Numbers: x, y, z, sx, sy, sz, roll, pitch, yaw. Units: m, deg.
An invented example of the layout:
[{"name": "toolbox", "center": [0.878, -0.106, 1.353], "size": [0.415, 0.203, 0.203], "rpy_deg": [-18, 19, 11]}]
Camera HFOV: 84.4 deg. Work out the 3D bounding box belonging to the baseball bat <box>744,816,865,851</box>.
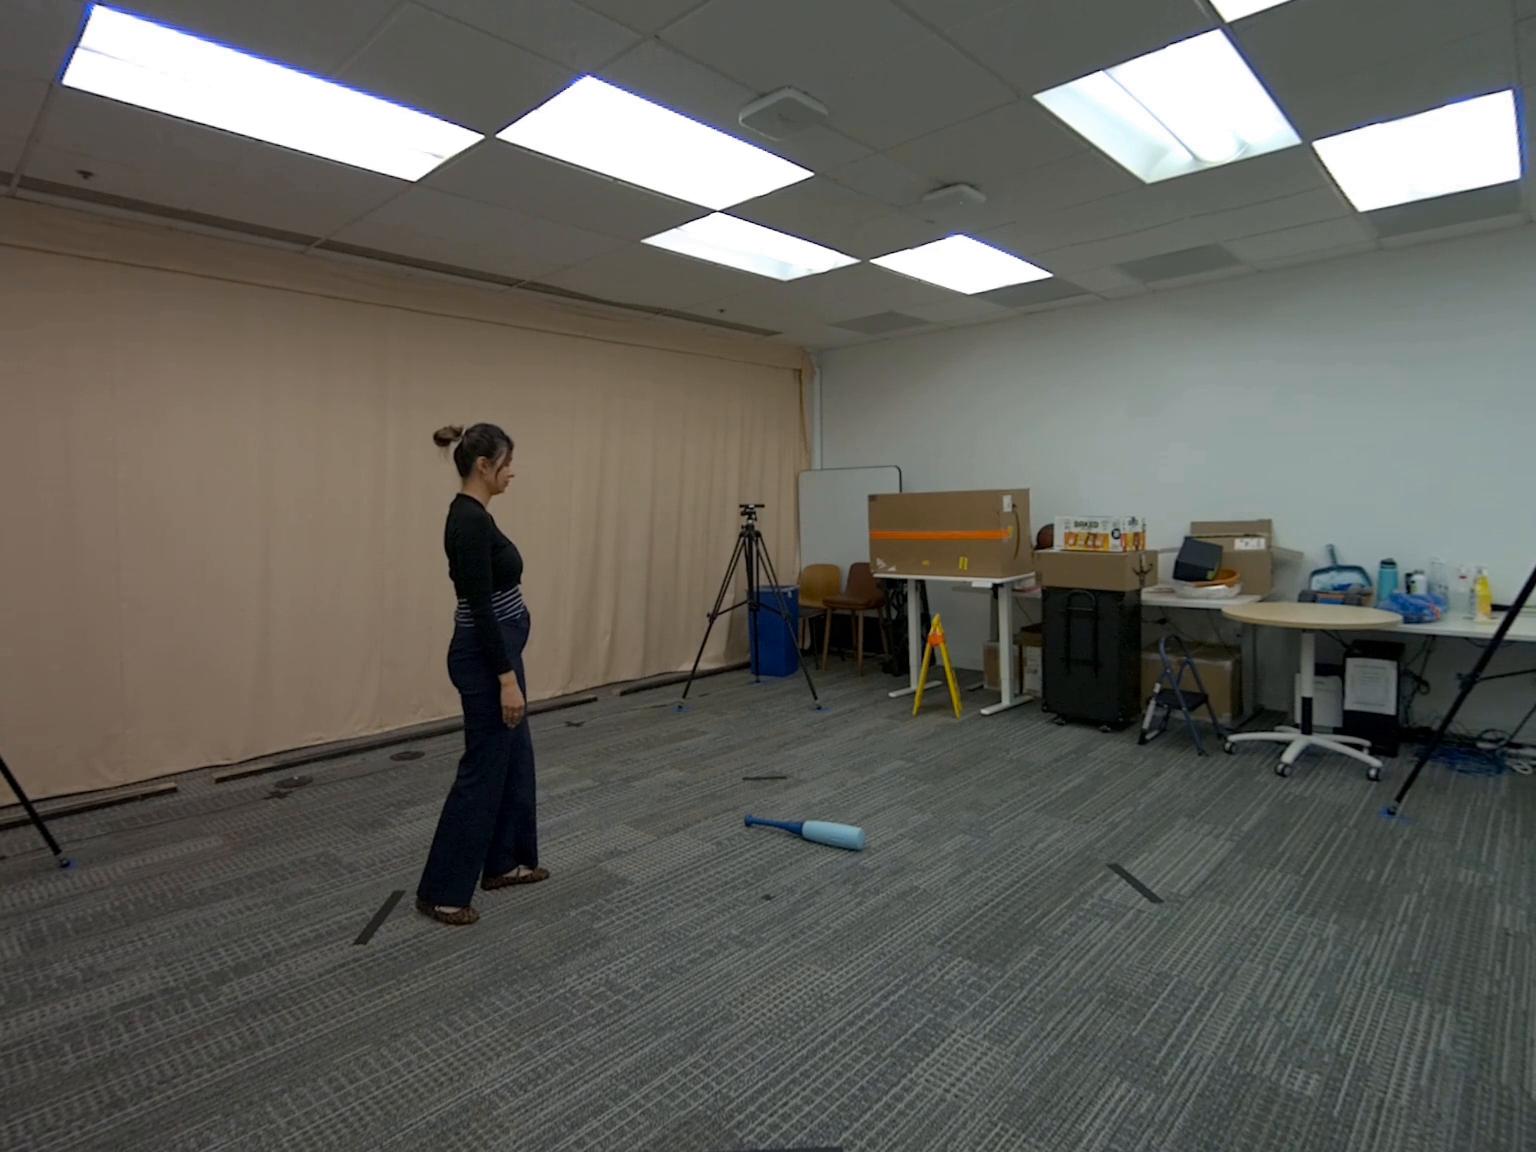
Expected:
[{"name": "baseball bat", "center": [0.148, 1.057, 3.506], "size": [0.558, 0.089, 0.087], "rpy_deg": [-1, 3, 31]}]
